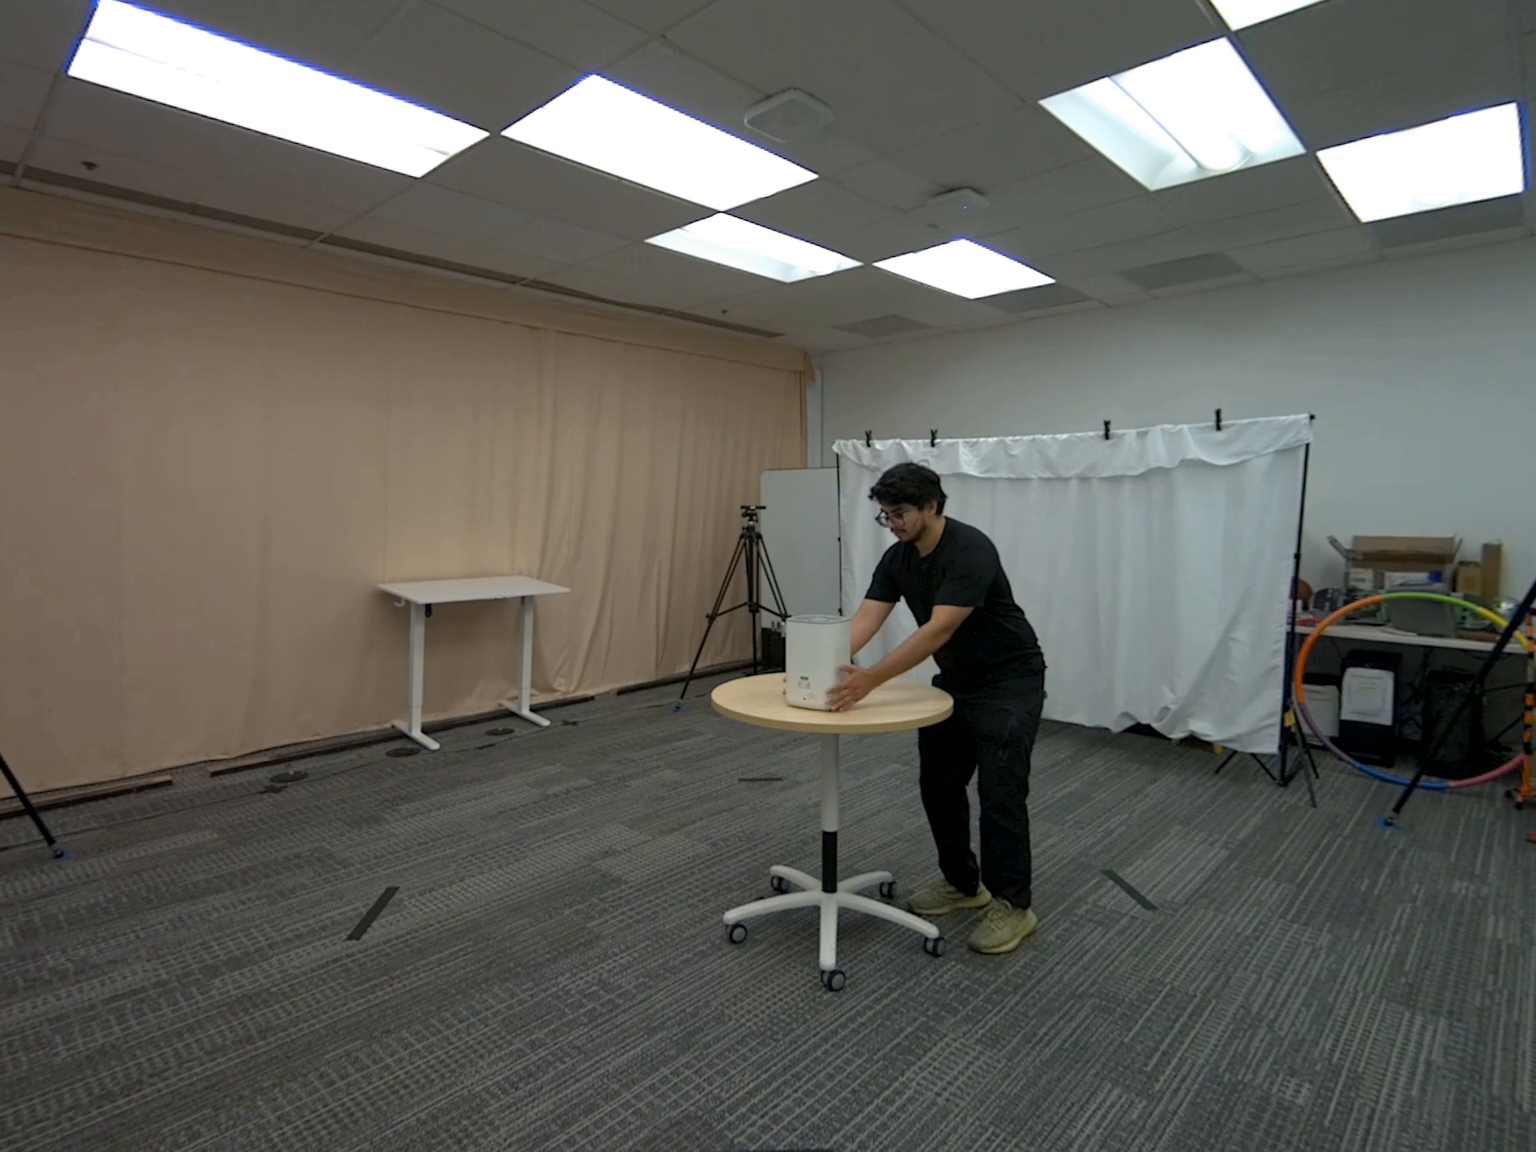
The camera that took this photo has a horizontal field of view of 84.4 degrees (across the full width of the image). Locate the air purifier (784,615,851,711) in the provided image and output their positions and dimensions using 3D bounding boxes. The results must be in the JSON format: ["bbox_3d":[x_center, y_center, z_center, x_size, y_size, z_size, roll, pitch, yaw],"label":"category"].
[{"bbox_3d":[0.164,0.262,2.552,0.176,0.265,0.167,1,1,28],"label":"air purifier"}]
